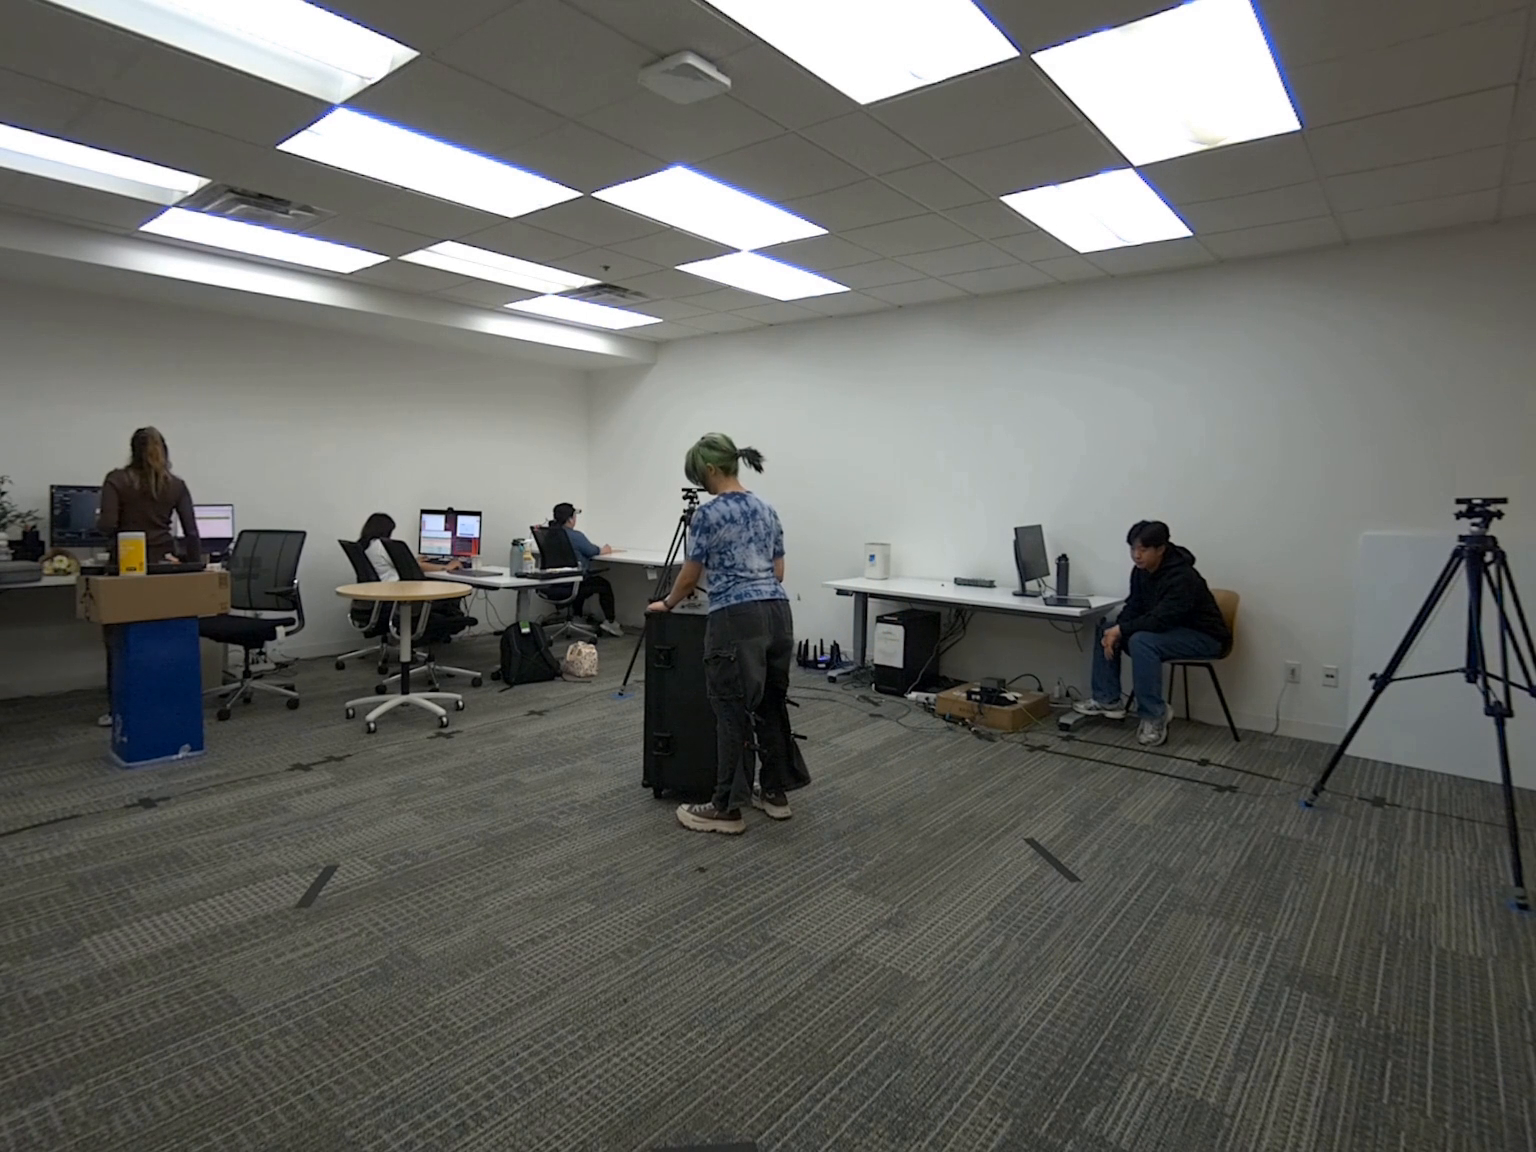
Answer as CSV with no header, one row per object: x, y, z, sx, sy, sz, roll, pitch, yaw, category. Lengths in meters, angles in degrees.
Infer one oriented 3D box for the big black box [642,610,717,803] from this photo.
-0.326,0.564,3.938,0.403,0.860,0.513,2,2,15,big black box
